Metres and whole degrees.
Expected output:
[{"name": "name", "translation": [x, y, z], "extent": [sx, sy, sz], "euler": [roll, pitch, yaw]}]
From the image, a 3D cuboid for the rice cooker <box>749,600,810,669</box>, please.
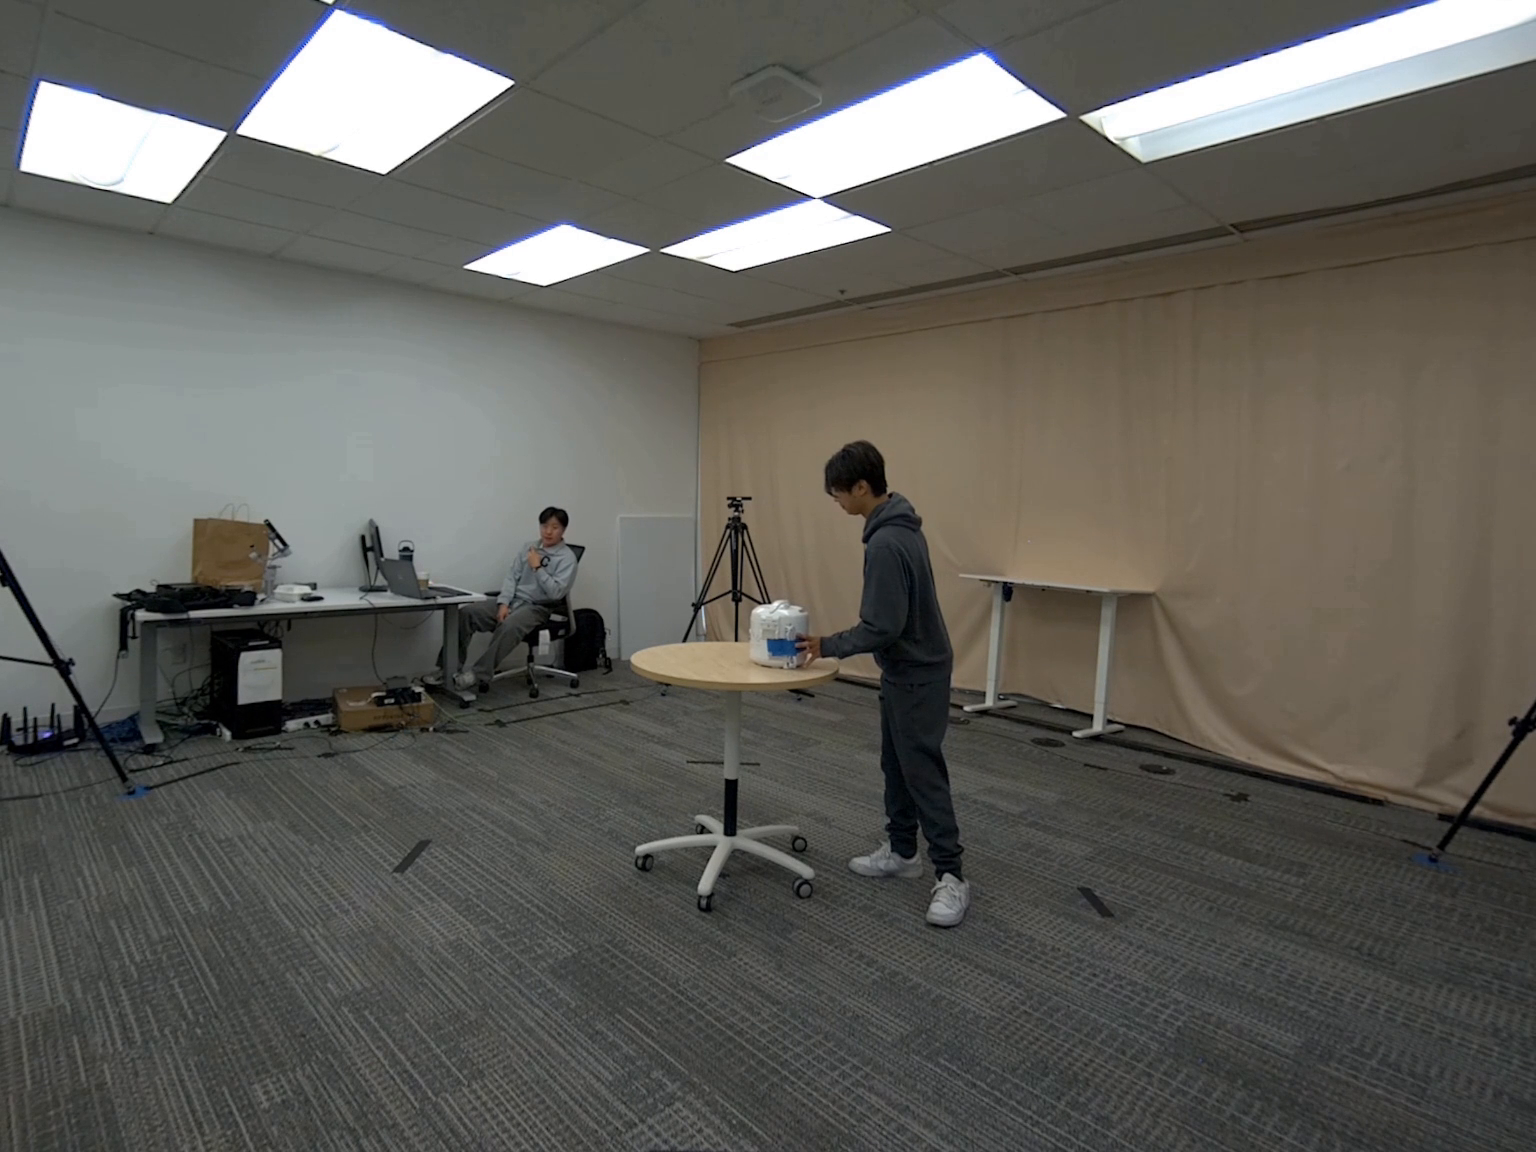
[{"name": "rice cooker", "translation": [0.035, 0.203, 3.047], "extent": [0.222, 0.232, 0.217], "euler": [5, 5, 25]}]
